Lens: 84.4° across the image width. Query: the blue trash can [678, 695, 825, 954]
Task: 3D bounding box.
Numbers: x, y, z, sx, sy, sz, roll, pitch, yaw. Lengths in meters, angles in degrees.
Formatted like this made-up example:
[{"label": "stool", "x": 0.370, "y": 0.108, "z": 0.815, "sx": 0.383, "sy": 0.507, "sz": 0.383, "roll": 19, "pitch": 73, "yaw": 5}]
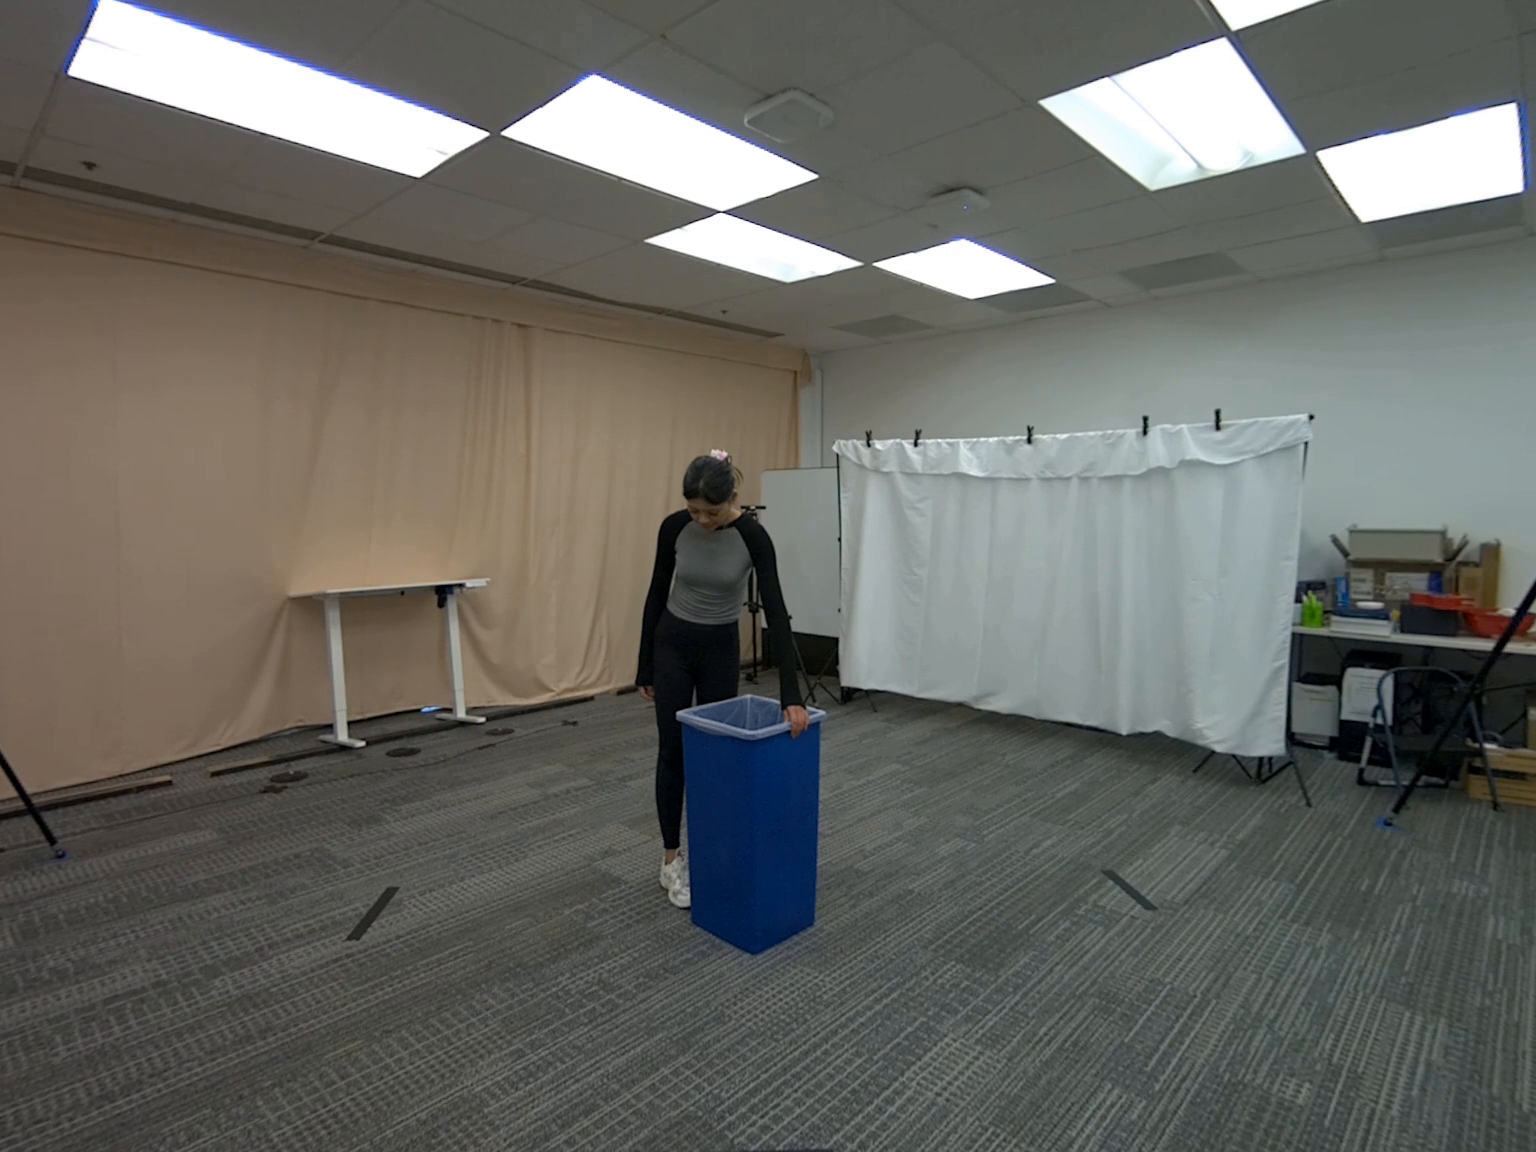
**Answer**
[{"label": "blue trash can", "x": -0.050, "y": 0.803, "z": 2.784, "sx": 0.391, "sy": 0.712, "sz": 0.362, "roll": 3, "pitch": 4, "yaw": 45}]
